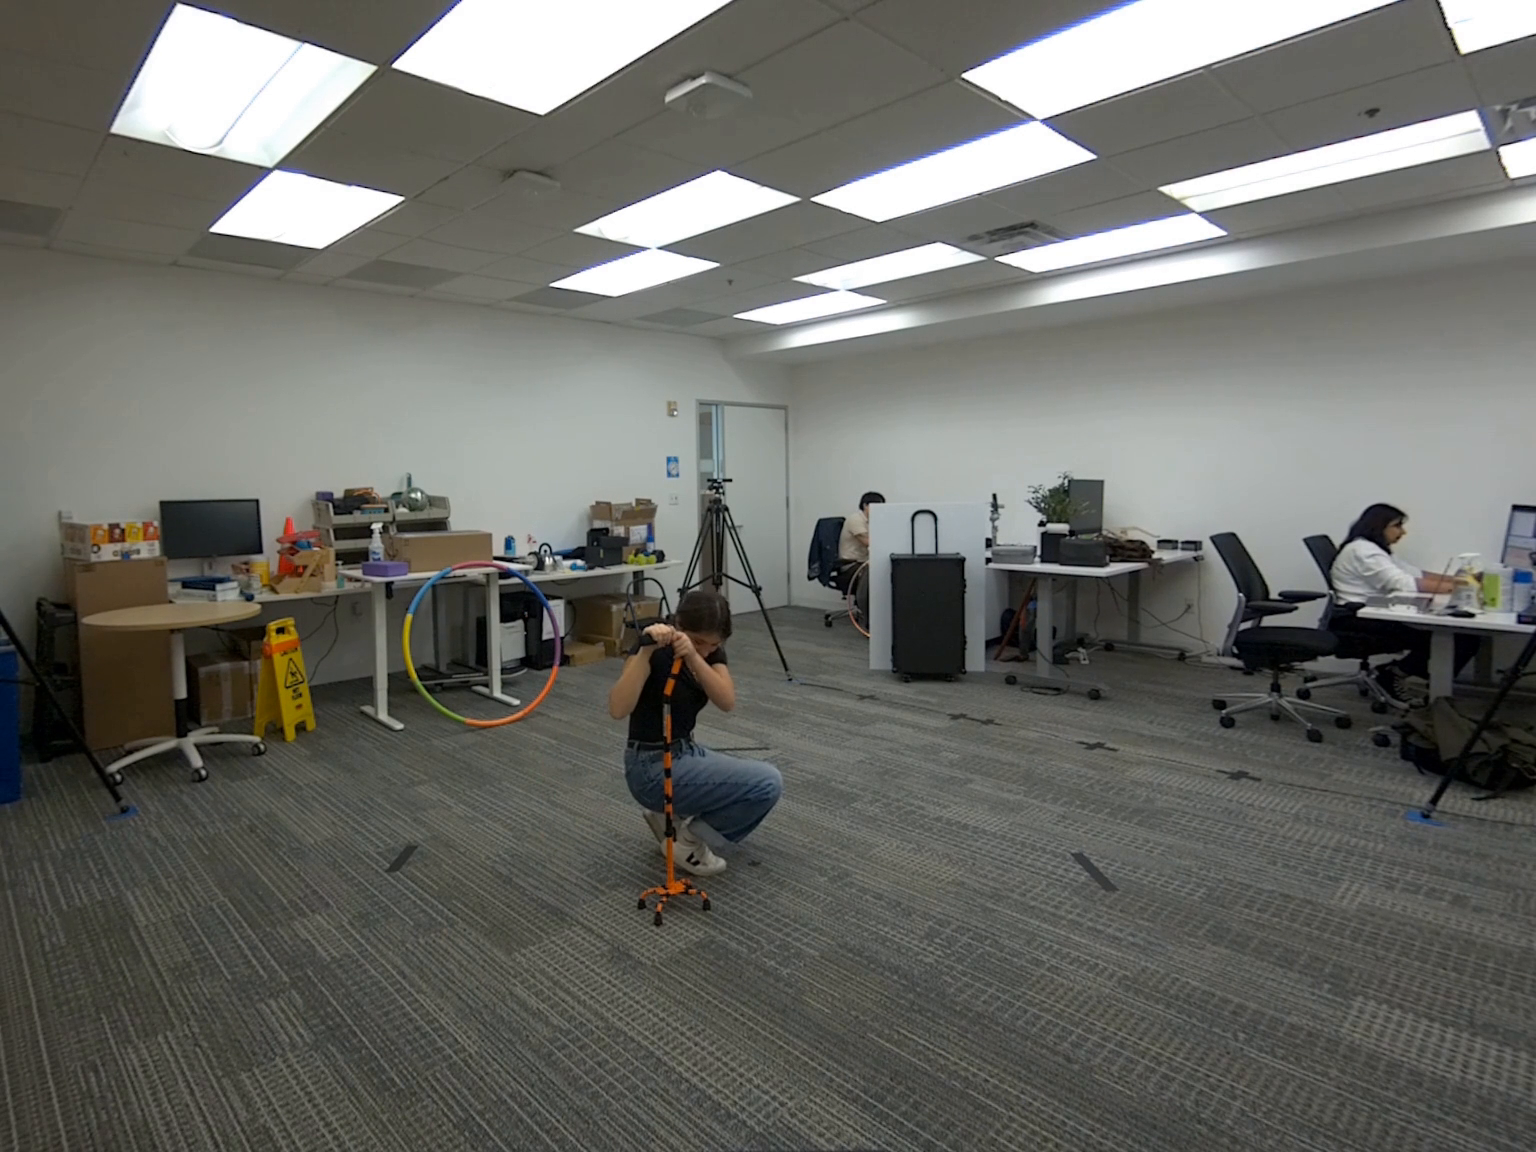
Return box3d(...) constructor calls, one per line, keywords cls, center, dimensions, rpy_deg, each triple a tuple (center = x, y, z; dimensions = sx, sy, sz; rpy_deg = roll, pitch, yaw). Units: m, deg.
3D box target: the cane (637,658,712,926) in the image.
box3d(cls="cane", center=(-0.312, 0.640, 2.768), dimensions=(0.201, 0.905, 0.156), rpy_deg=(-3, 4, -34))
